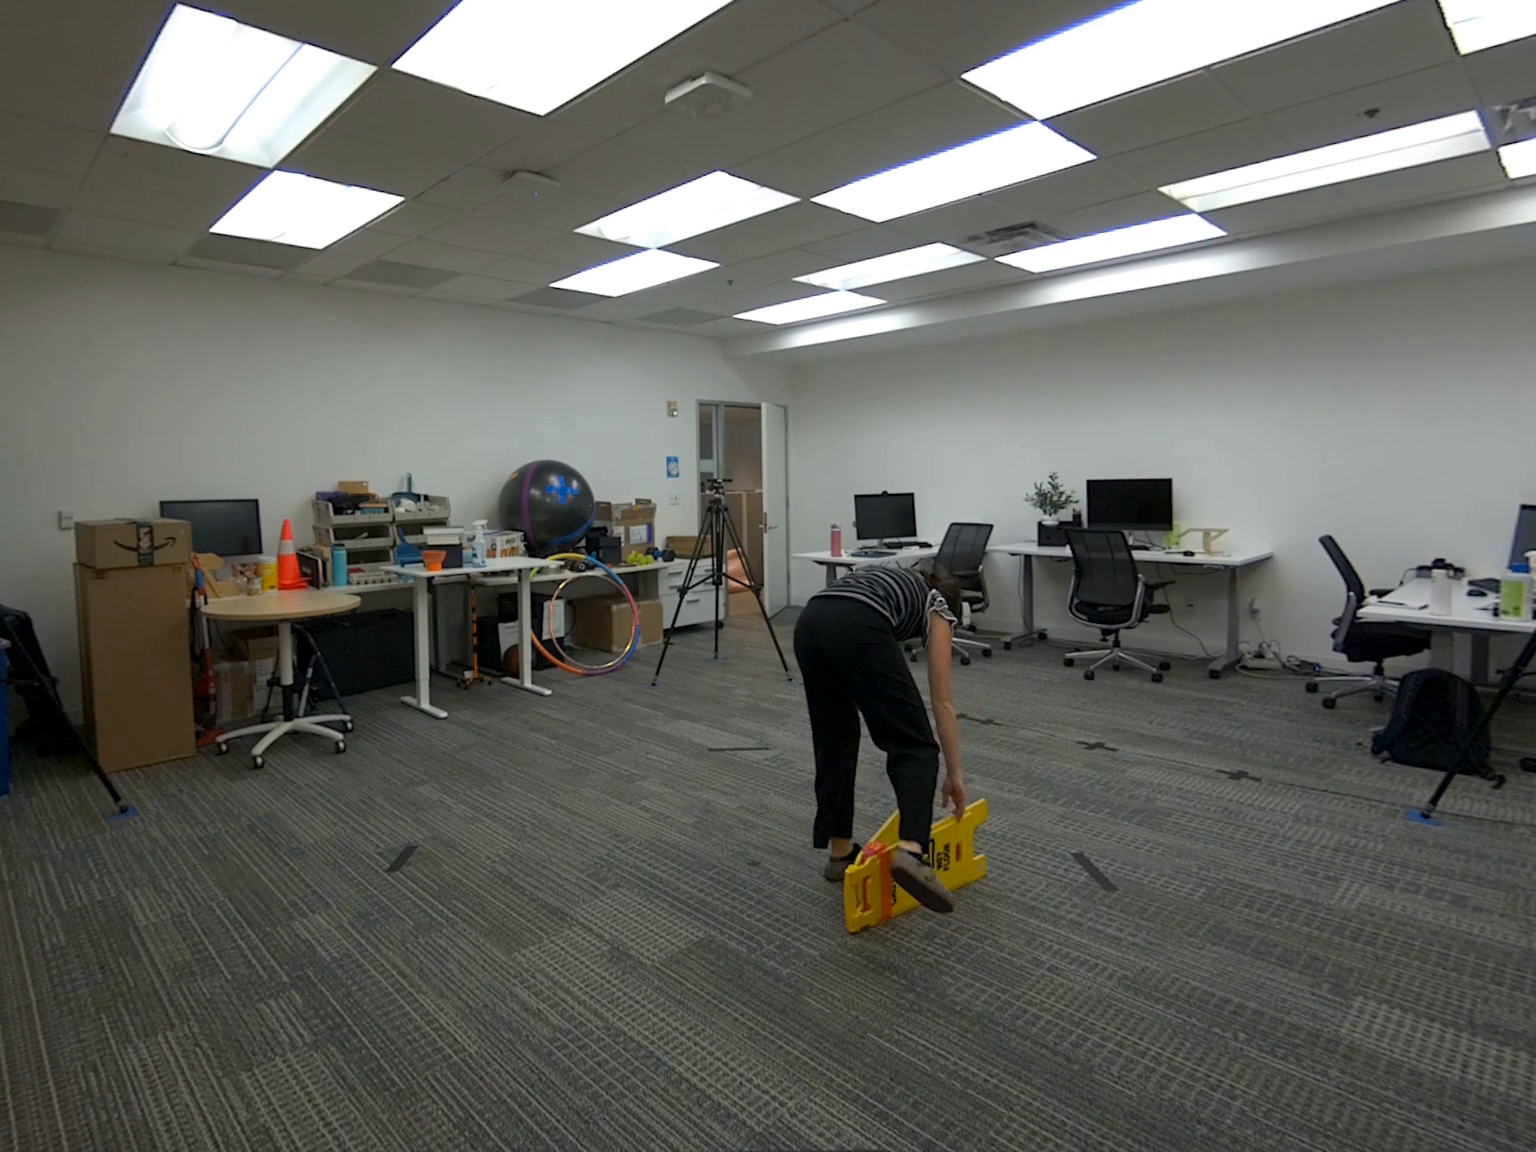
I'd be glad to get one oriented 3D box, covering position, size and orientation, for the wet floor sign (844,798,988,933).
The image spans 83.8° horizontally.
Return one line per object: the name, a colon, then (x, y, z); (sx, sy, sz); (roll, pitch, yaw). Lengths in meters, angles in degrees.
wet floor sign: (0.461, 0.944, 2.821); (0.299, 0.280, 0.631); (5, 12, 41)
